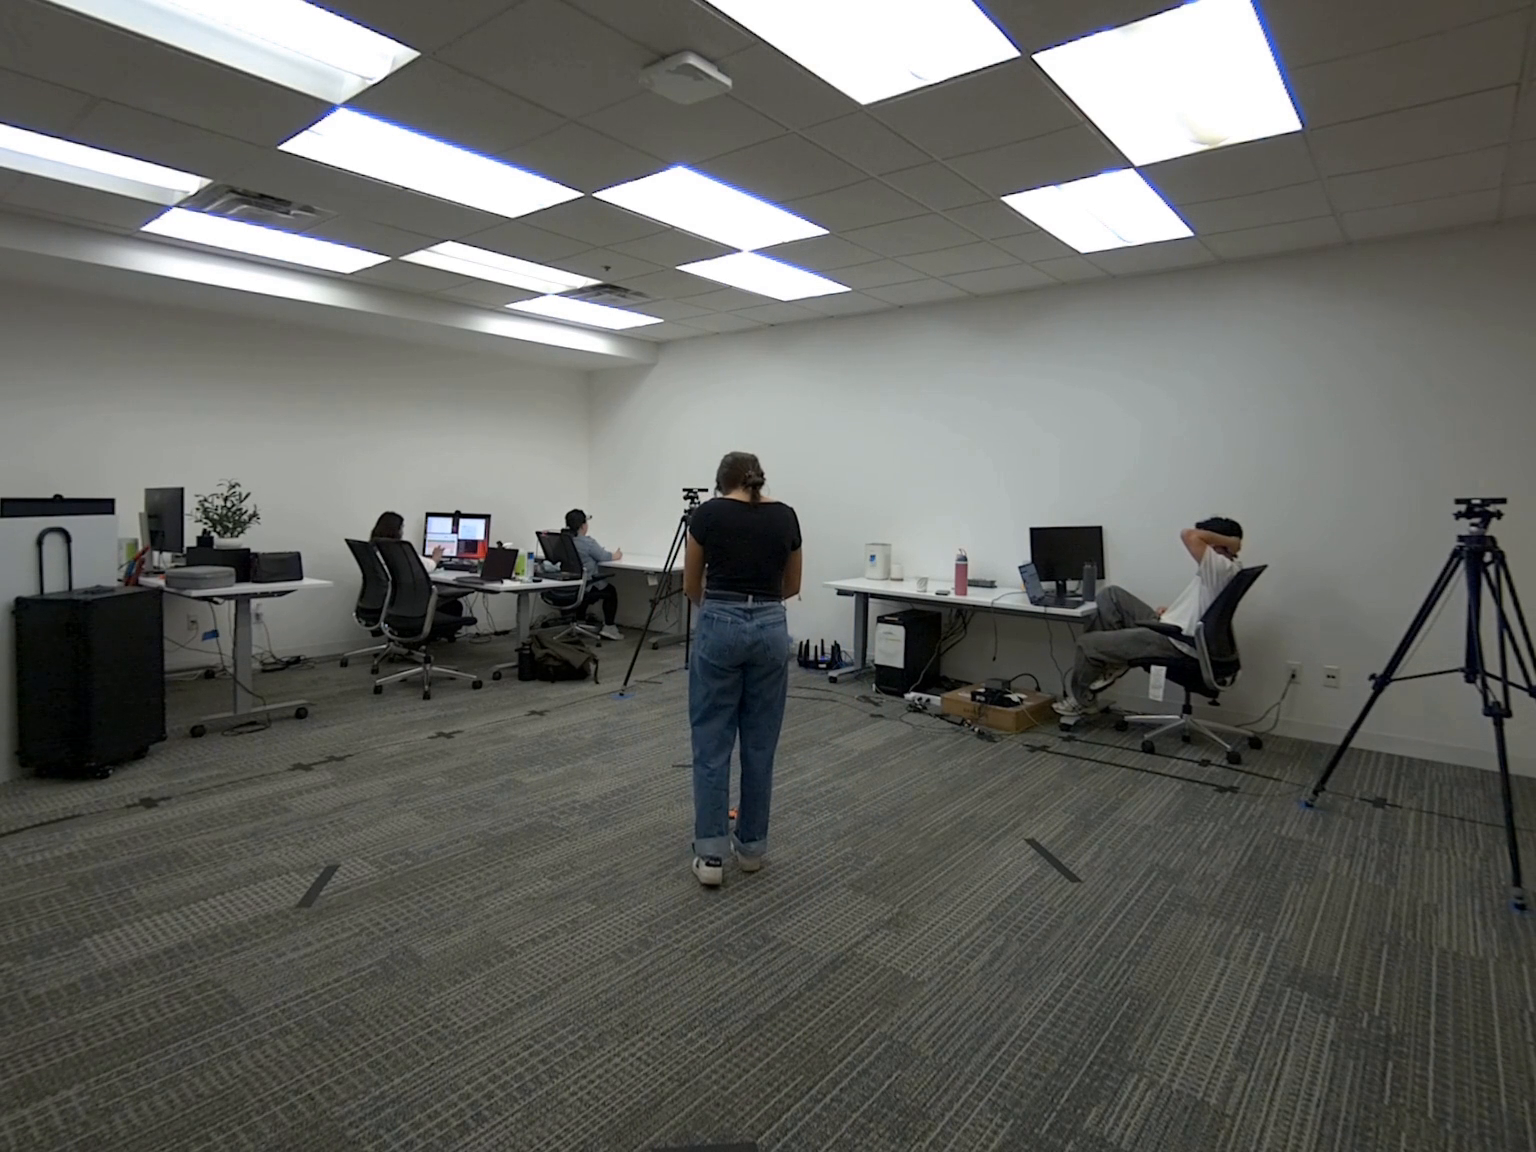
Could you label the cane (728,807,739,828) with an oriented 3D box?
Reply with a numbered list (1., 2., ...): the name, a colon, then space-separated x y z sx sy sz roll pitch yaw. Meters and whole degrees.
1. cane: -0.169 0.570 3.486 0.206 0.906 0.152 1 2 -4
